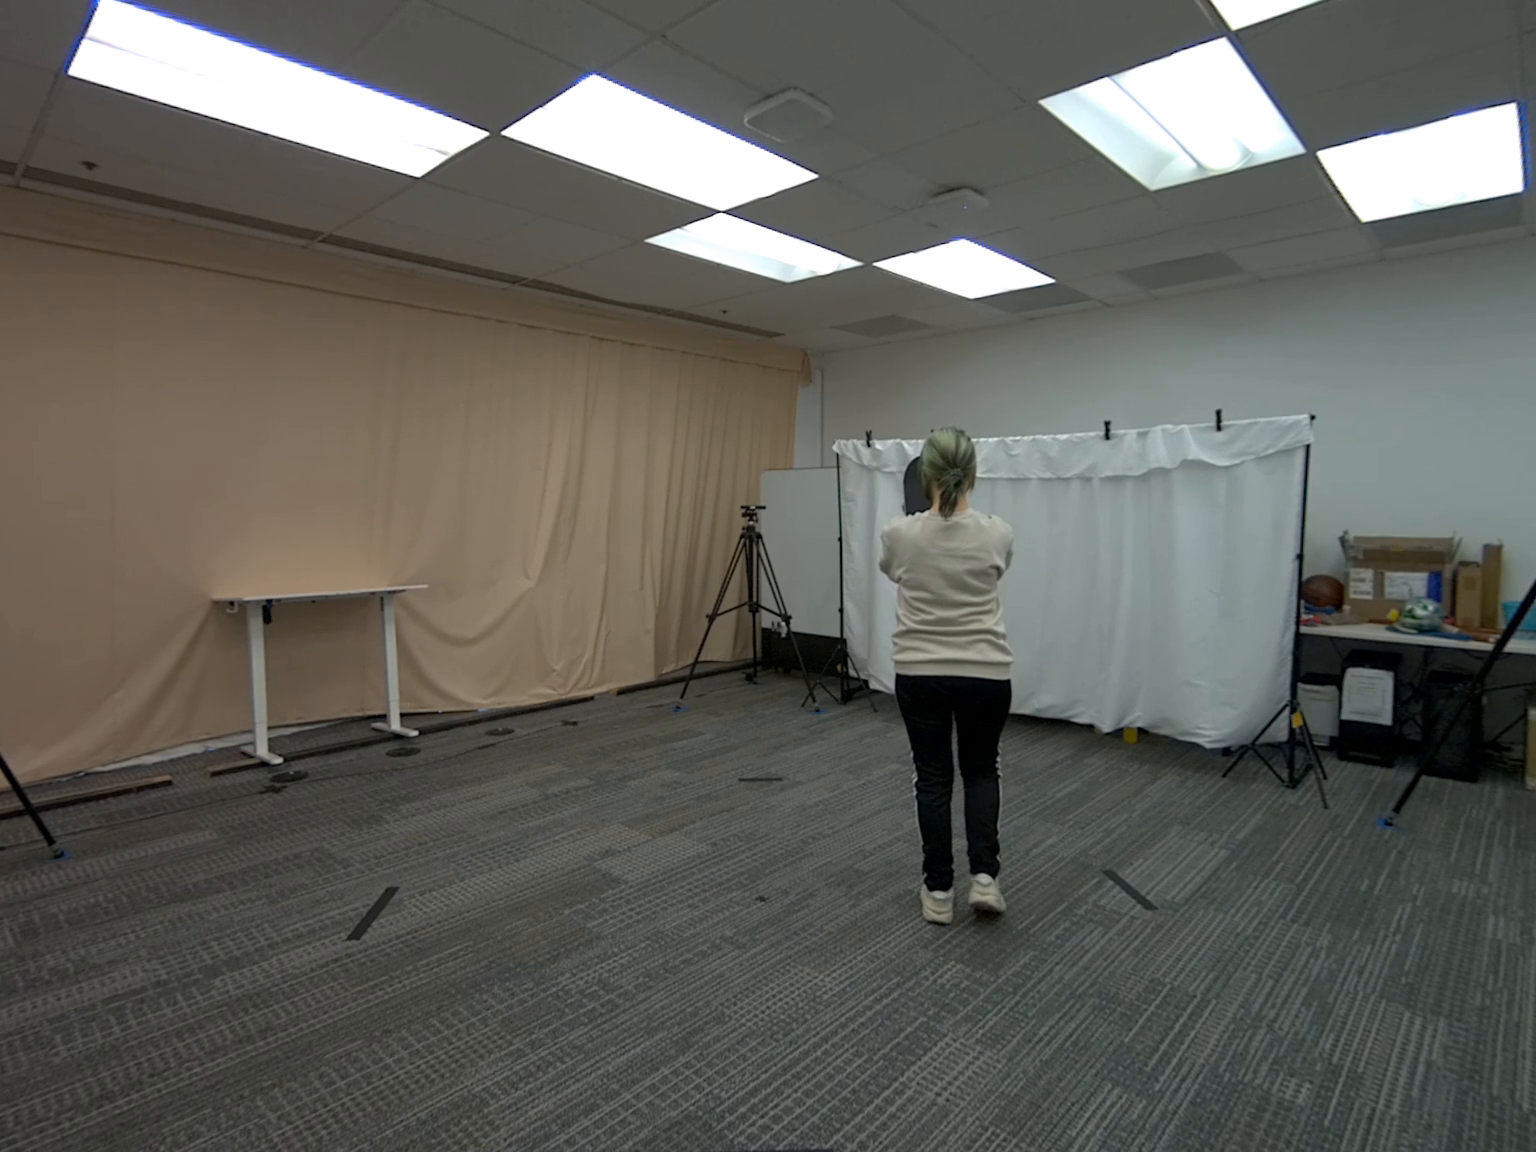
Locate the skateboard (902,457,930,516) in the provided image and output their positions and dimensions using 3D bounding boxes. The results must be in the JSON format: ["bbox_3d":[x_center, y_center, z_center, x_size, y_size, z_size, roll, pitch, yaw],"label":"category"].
[{"bbox_3d":[0.666,-0.096,3.374,0.194,0.792,0.109,-2,-14,4],"label":"skateboard"}]
